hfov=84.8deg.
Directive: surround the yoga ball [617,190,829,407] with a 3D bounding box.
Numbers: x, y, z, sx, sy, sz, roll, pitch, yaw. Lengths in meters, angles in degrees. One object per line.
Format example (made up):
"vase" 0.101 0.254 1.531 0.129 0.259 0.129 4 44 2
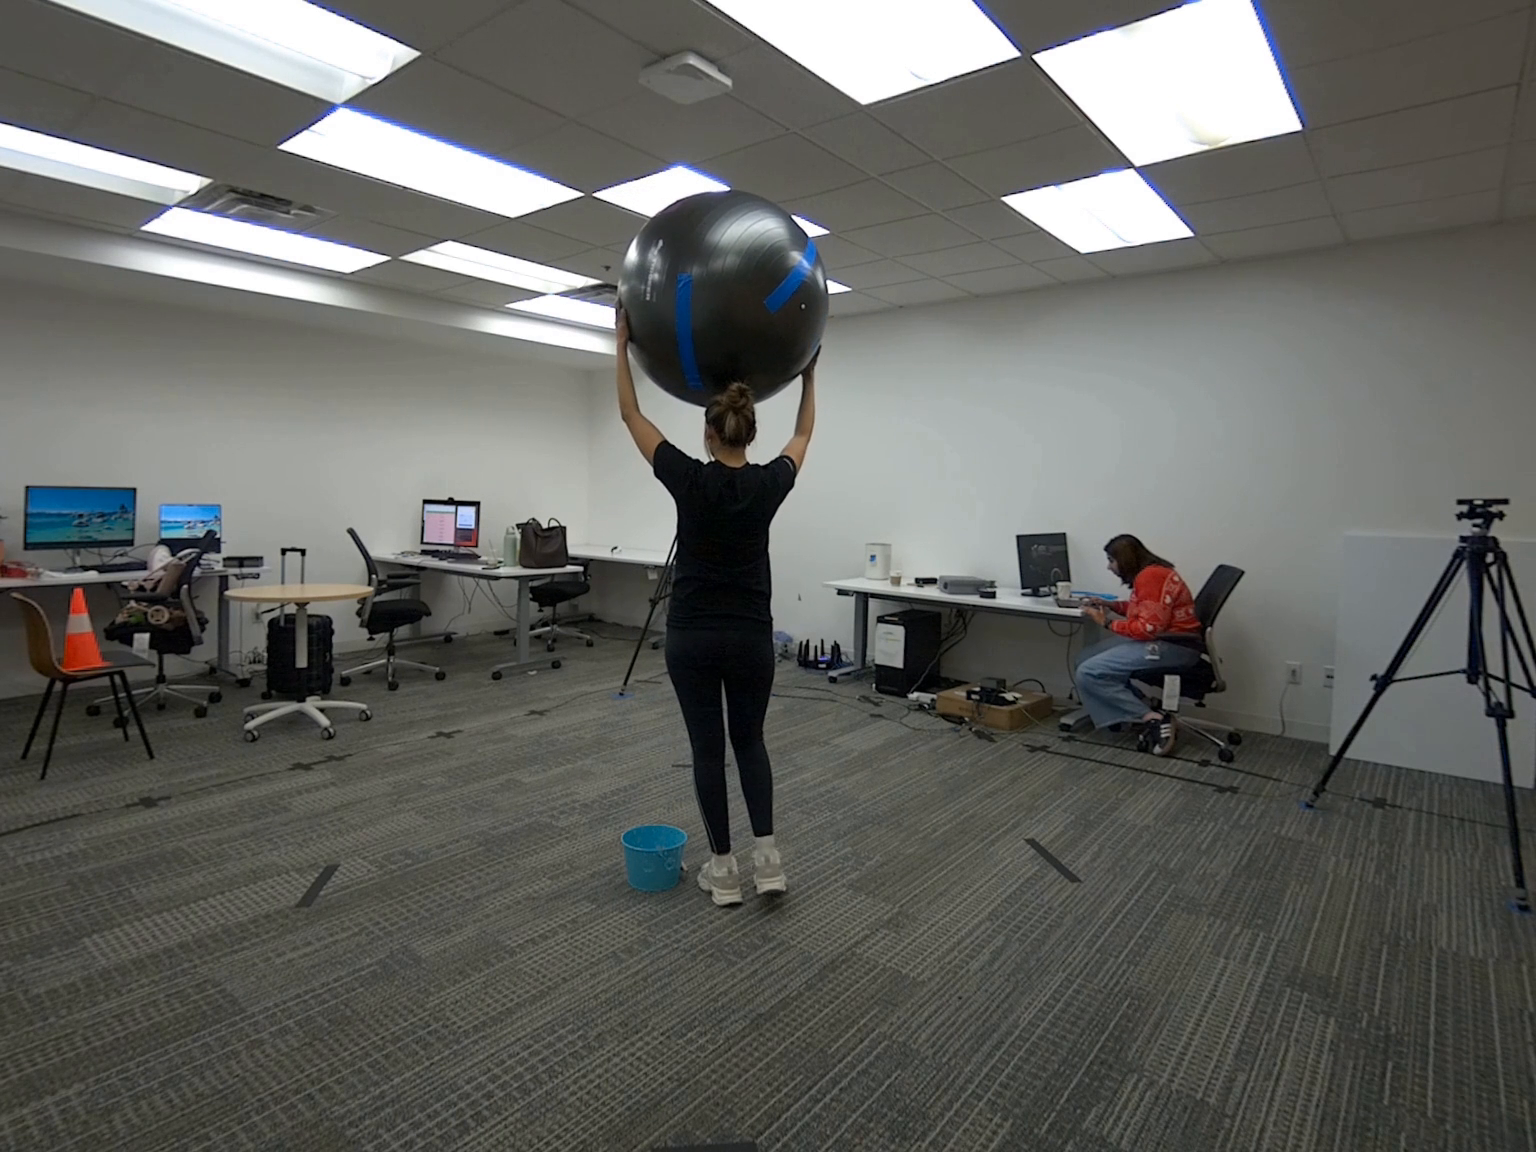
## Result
"yoga ball" -0.176 -0.978 3.055 0.757 0.755 0.762 1 4 -2
